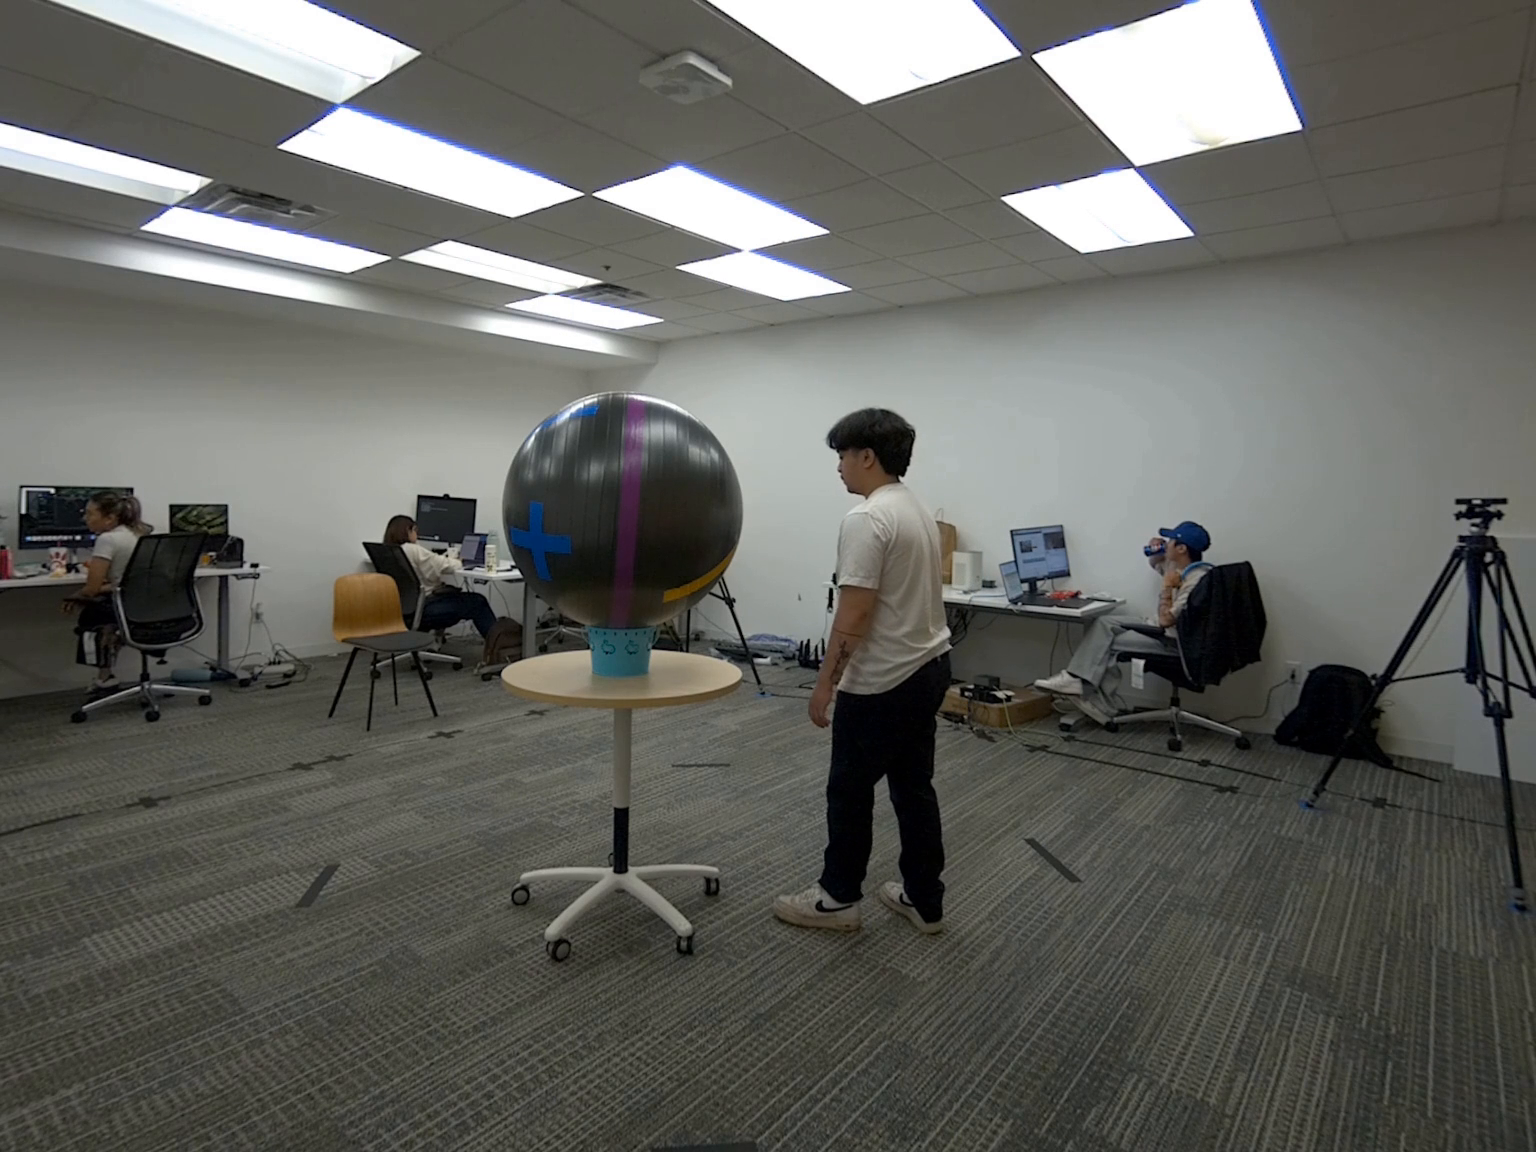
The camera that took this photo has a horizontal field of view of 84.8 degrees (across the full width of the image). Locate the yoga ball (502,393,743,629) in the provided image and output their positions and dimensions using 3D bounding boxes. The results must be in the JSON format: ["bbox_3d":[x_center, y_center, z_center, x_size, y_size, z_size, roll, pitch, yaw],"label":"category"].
[{"bbox_3d":[-0.475,-0.203,2.726,0.757,0.755,0.762,1,4,-2],"label":"yoga ball"}]
